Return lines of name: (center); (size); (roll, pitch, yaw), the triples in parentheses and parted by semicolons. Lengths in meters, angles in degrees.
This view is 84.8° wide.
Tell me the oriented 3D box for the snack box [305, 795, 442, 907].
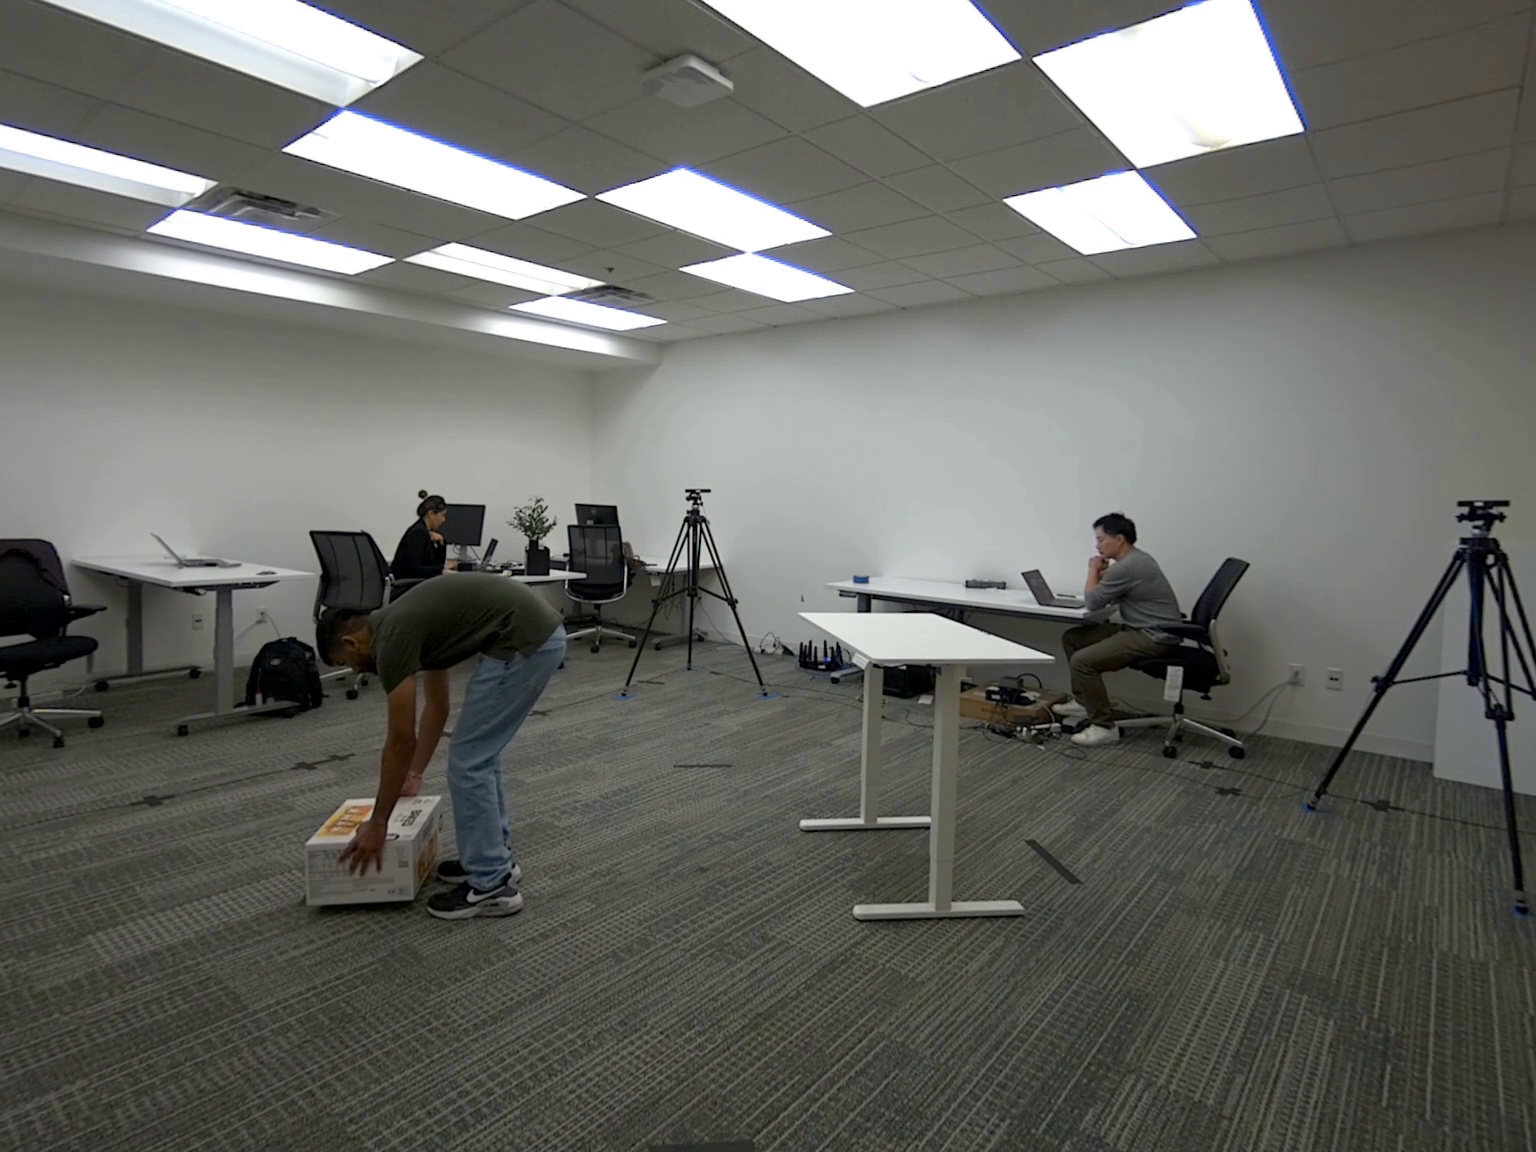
snack box: (-1.356, 0.937, 2.931); (0.338, 0.205, 0.409); (-2, 5, -7)
